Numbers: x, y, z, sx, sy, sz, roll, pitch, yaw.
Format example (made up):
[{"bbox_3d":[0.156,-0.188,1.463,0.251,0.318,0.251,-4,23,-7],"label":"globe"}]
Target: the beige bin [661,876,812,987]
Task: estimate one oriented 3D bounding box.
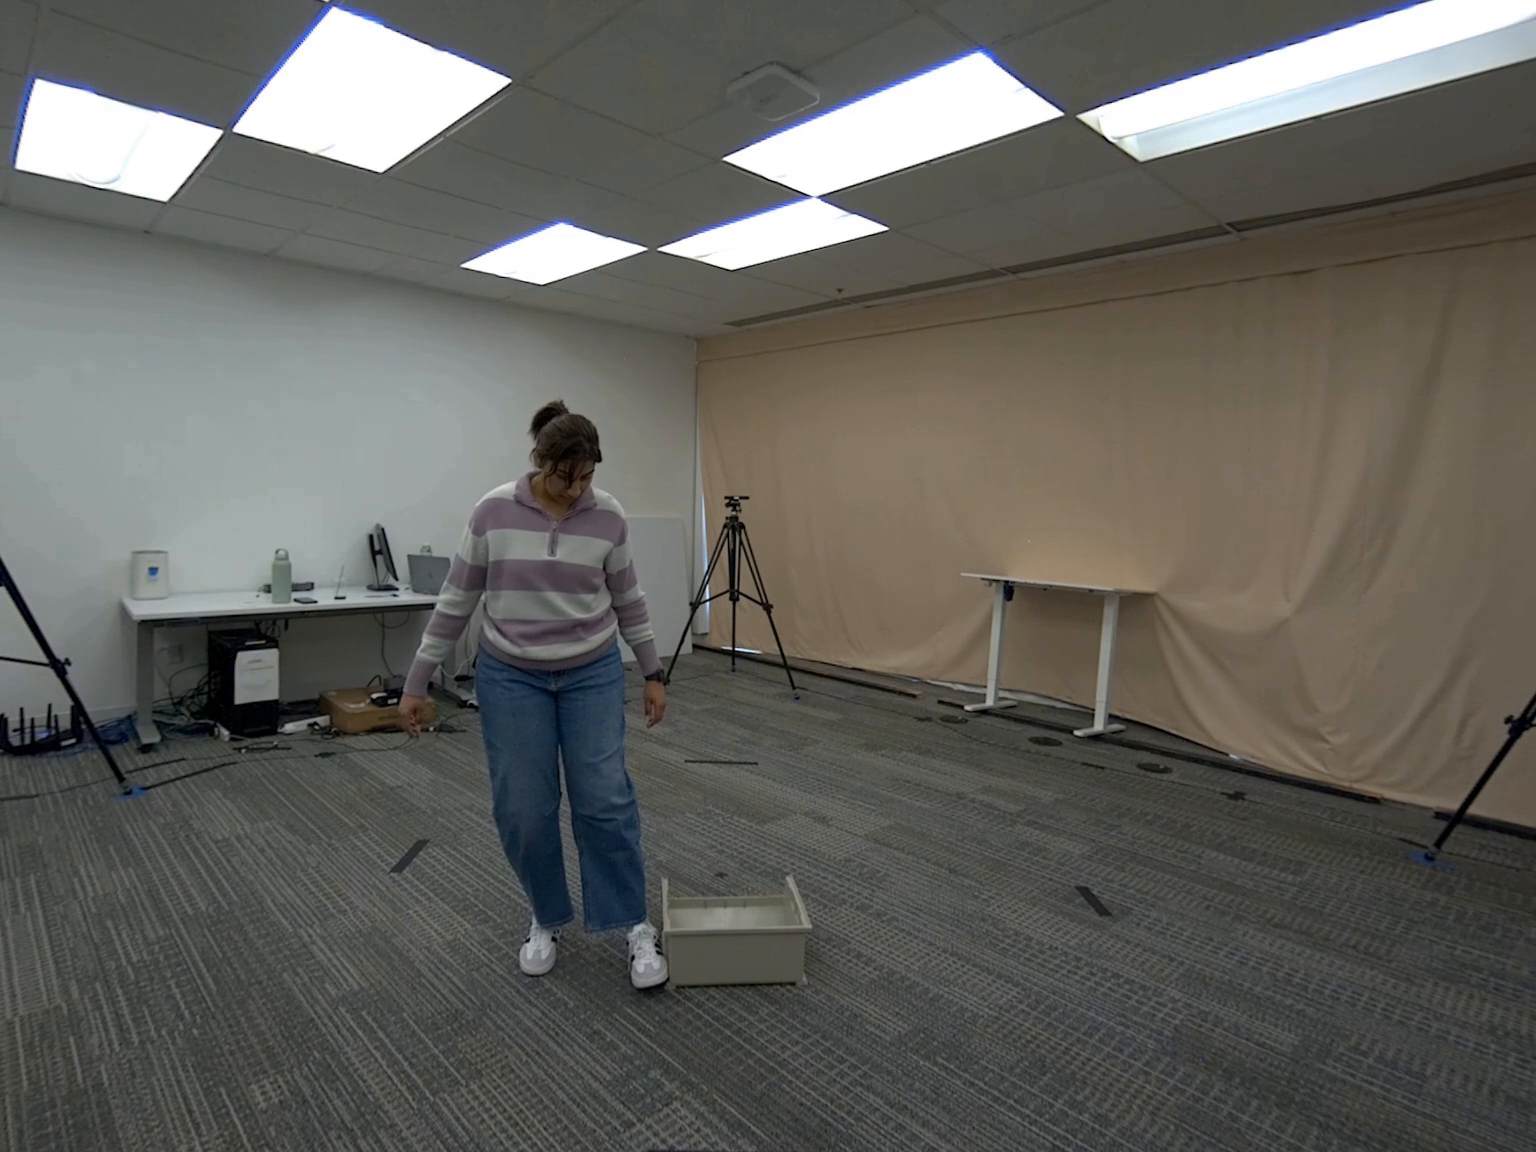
[{"bbox_3d":[-0.117,1.069,2.562,0.420,0.188,0.381,2,6,-8],"label":"beige bin"}]
